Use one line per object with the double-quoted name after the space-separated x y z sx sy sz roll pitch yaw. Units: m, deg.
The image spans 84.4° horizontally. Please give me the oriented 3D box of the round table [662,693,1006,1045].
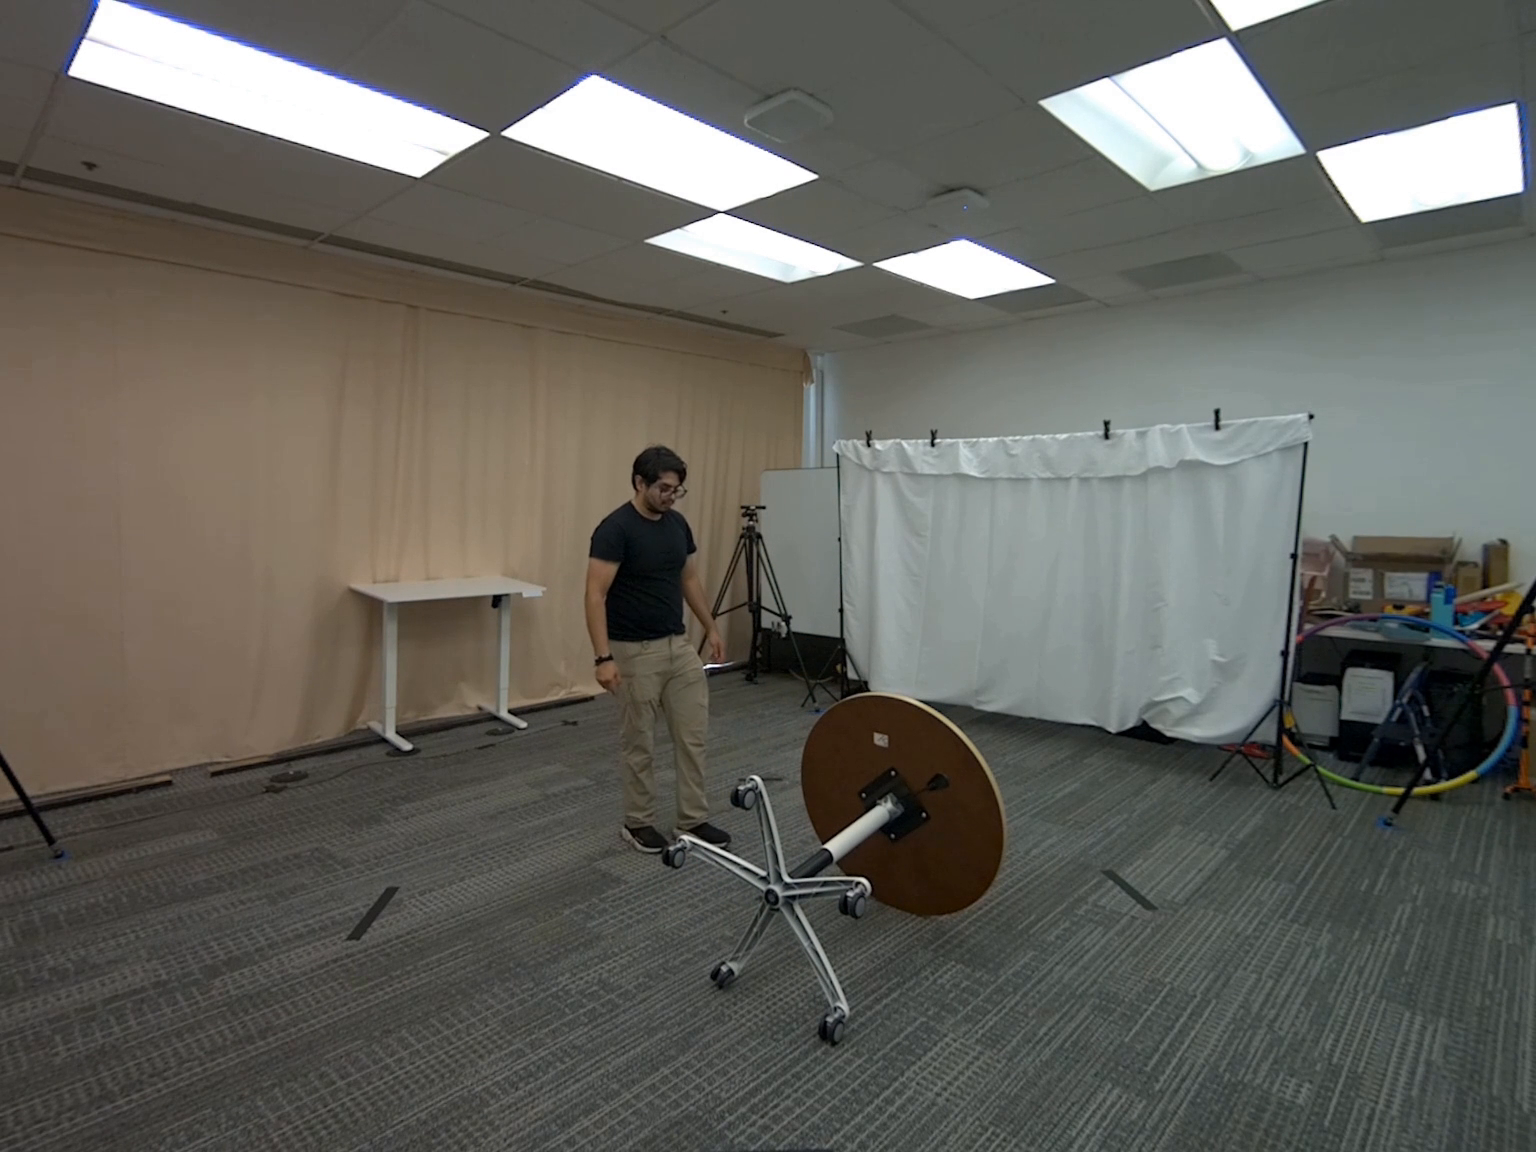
0.211 0.831 2.564 0.811 0.780 0.766 3 11 38 "round table"
